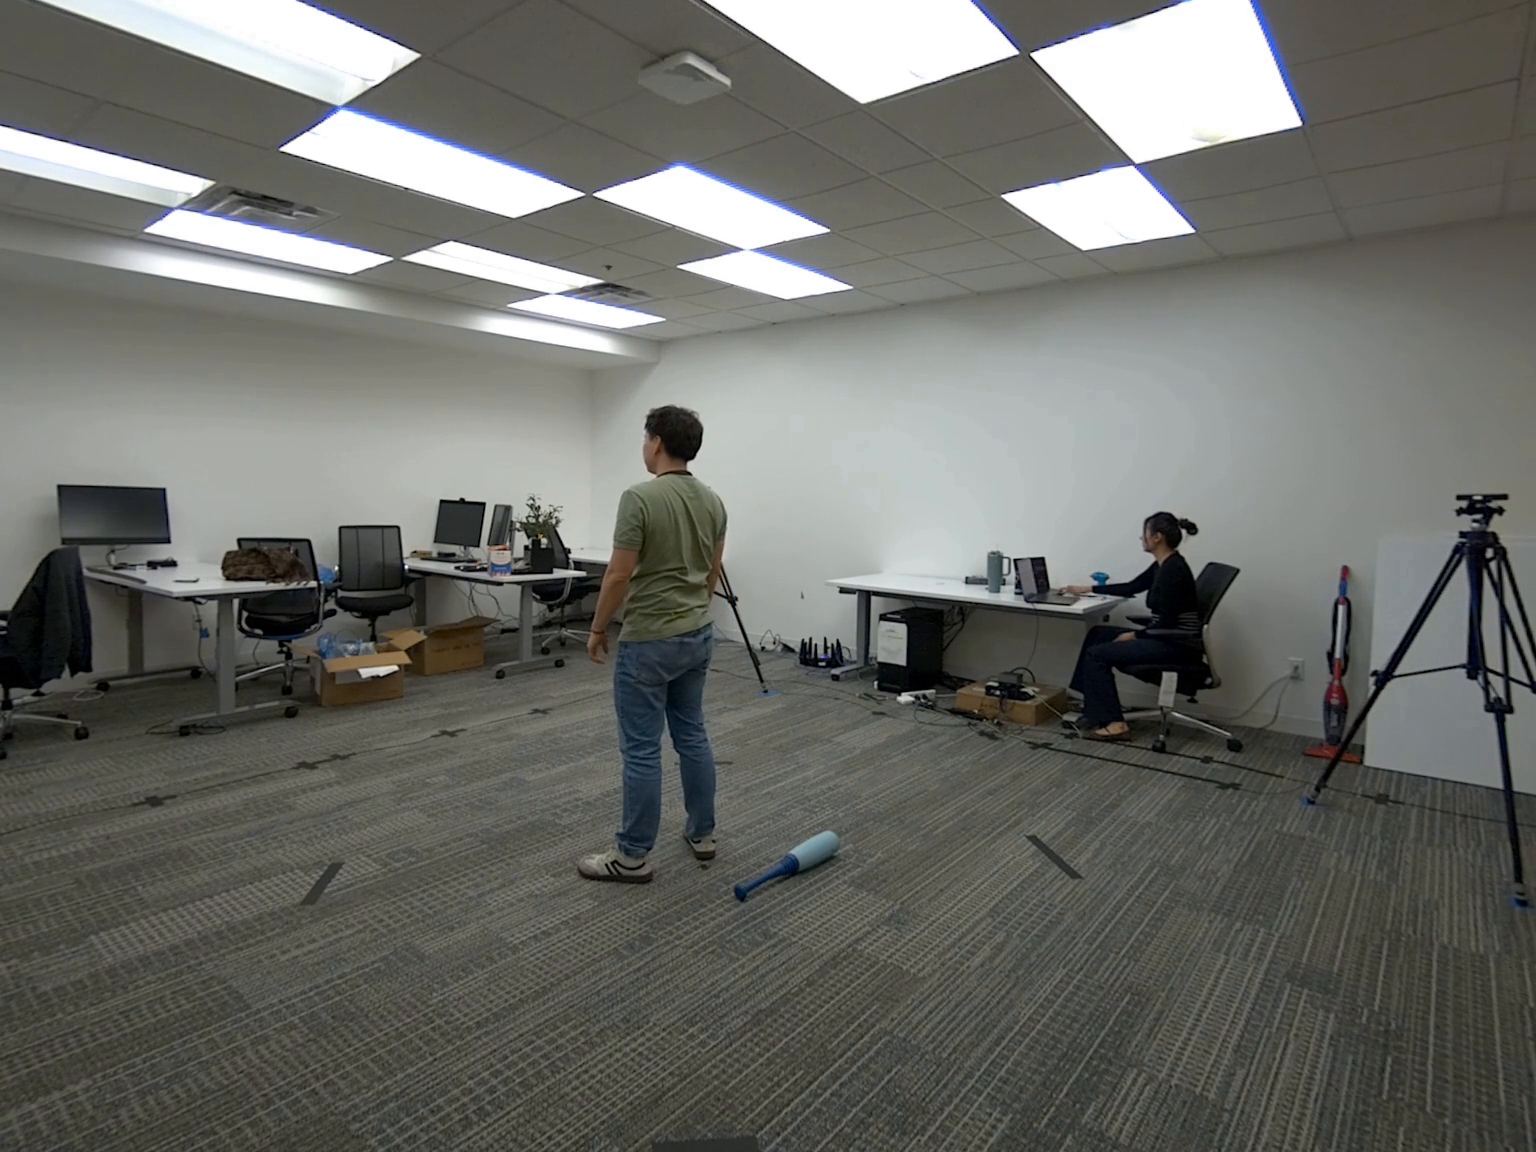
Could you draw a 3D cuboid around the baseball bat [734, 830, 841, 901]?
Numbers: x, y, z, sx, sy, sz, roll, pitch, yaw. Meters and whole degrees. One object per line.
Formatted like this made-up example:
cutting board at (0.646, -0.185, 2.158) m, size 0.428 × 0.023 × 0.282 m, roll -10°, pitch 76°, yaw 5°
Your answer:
baseball bat at (0.067, 1.041, 3.055) m, size 0.092 × 0.088 × 0.528 m, roll 4°, pitch 10°, yaw 42°
